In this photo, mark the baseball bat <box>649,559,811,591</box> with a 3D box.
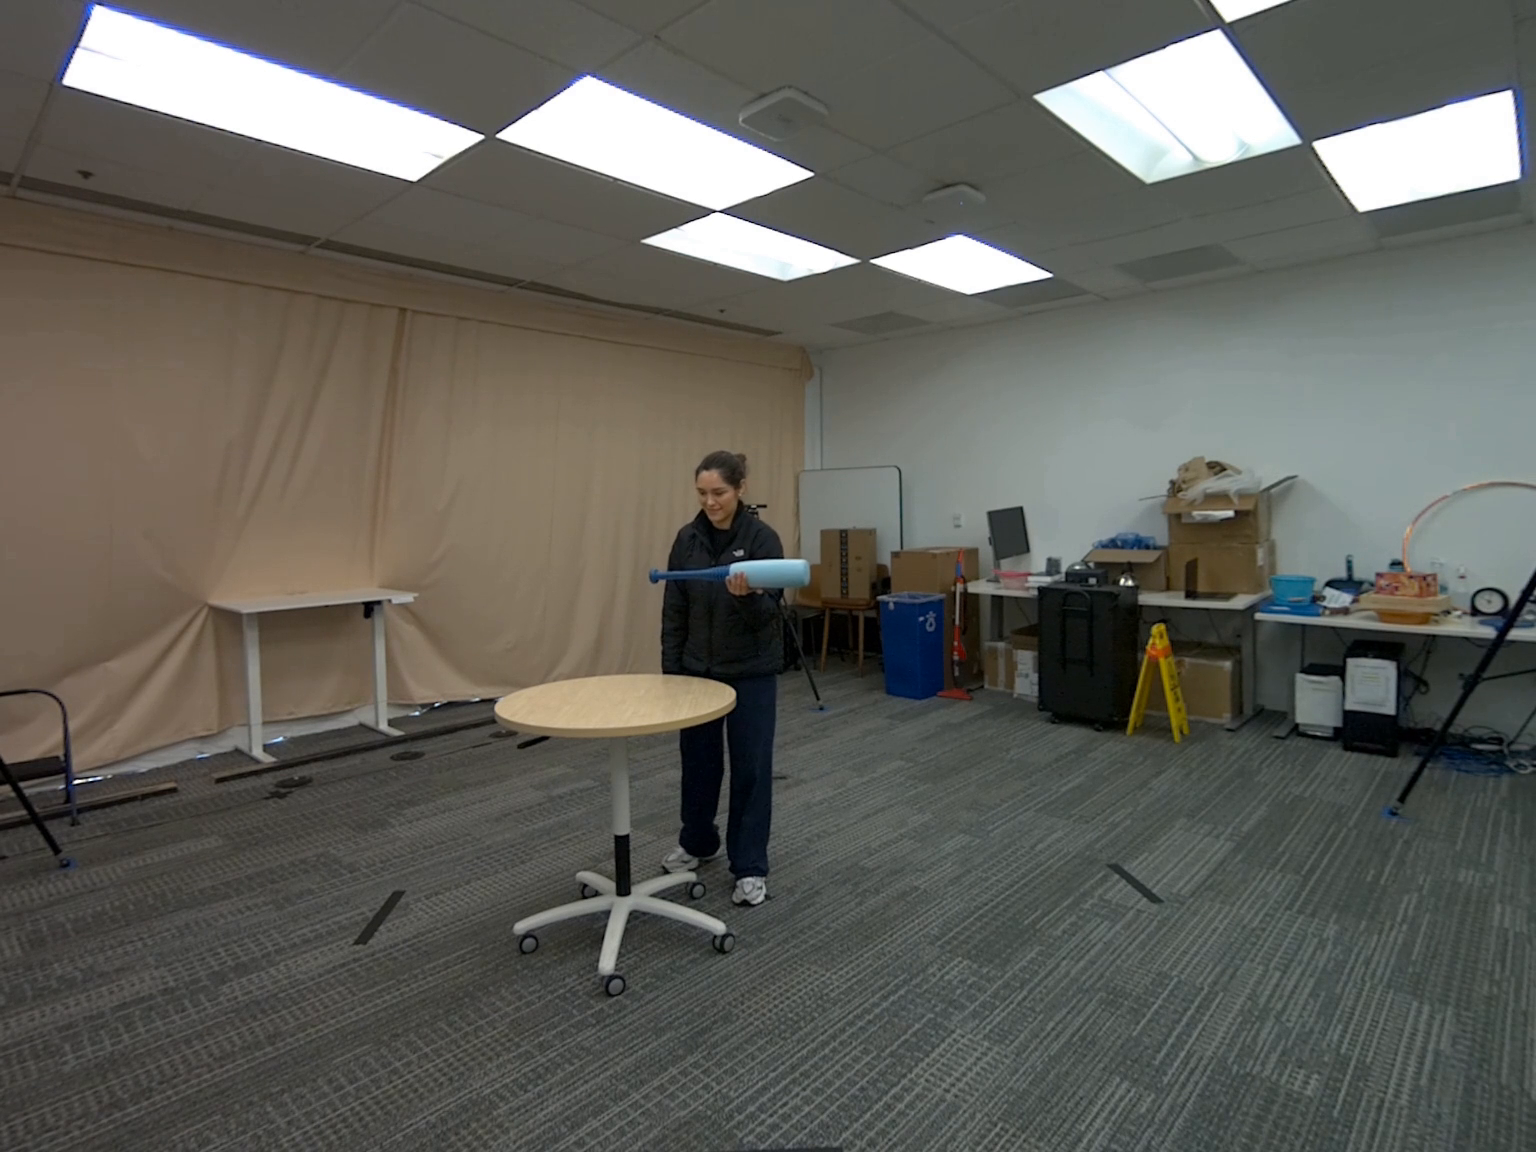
[{"bbox_3d":[-0.136,-0.005,2.708,0.555,0.089,0.087,0,4,21],"label":"baseball bat"}]
